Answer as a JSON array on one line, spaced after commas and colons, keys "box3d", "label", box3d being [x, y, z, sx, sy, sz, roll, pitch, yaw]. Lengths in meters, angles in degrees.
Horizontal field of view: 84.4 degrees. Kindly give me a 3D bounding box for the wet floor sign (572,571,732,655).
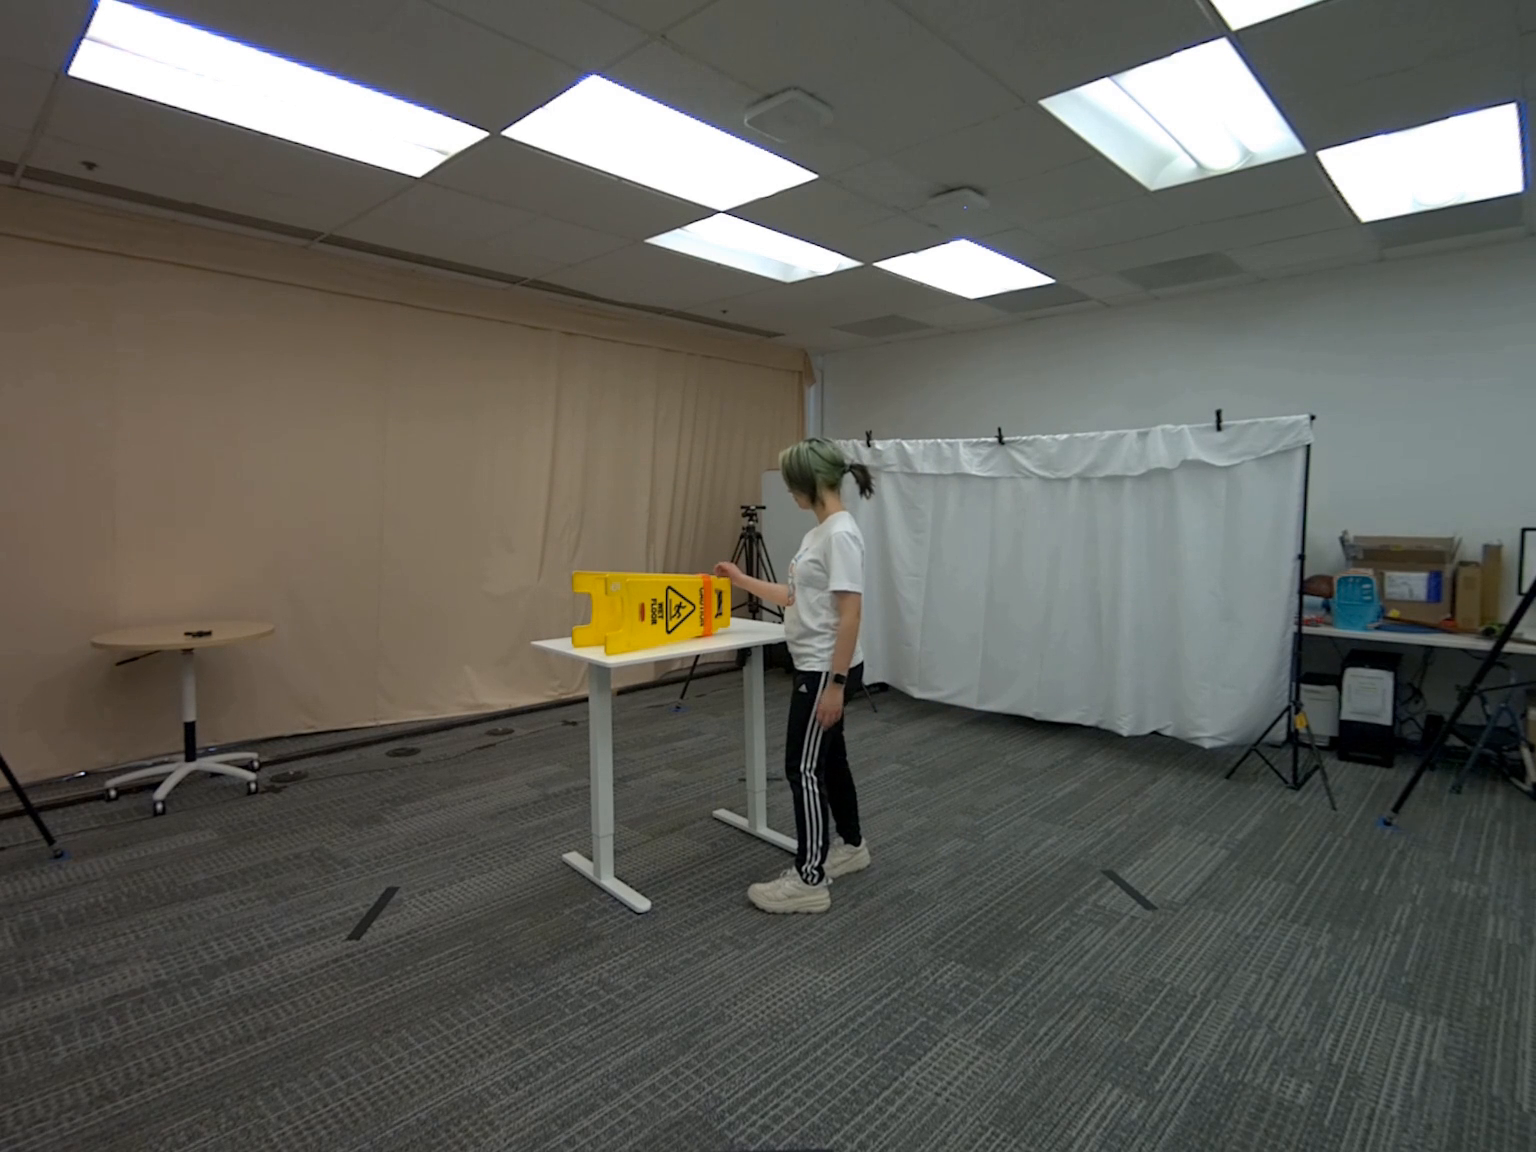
[{"box3d": [-0.398, 0.122, 3.193, 0.626, 0.282, 0.299, -2, 4, -40], "label": "wet floor sign"}]
